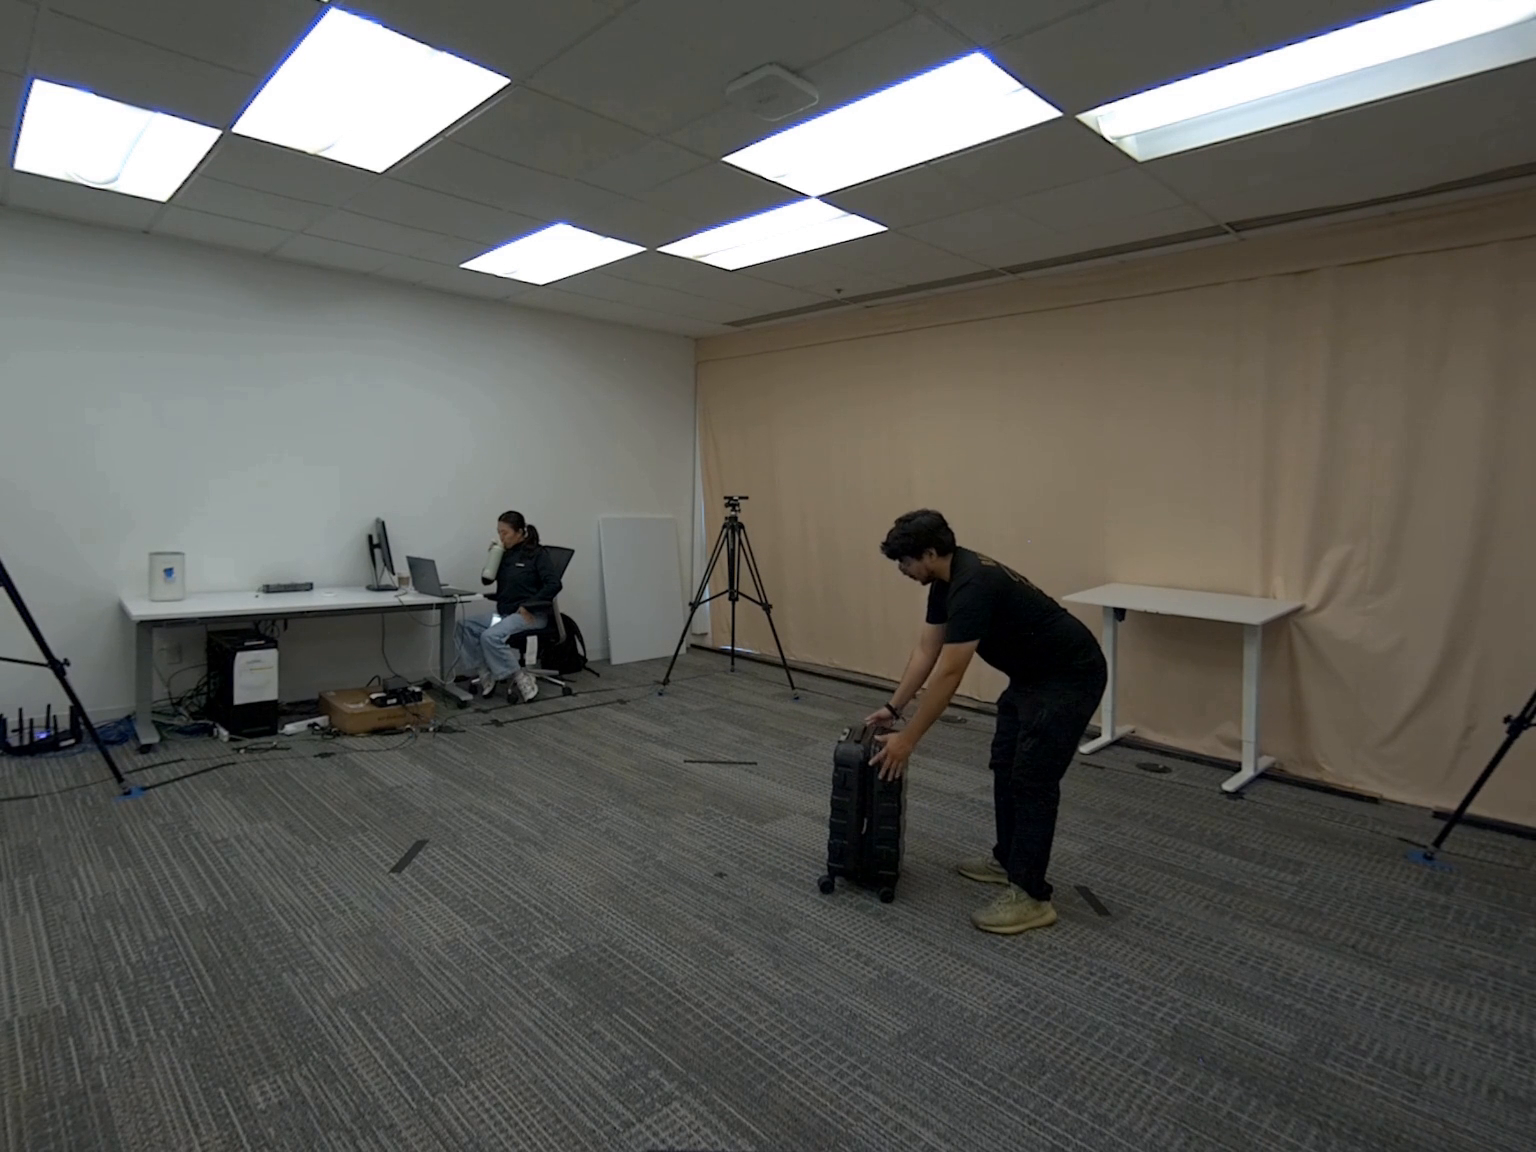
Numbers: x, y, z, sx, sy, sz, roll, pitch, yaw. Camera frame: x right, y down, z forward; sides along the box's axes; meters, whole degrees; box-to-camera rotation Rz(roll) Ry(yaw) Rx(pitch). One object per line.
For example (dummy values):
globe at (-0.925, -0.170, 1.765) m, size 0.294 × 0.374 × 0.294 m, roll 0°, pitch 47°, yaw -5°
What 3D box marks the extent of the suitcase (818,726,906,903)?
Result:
suitcase at (0.370, 0.839, 3.088) m, size 0.251 × 0.548 × 0.371 m, roll 4°, pitch 3°, yaw 14°
